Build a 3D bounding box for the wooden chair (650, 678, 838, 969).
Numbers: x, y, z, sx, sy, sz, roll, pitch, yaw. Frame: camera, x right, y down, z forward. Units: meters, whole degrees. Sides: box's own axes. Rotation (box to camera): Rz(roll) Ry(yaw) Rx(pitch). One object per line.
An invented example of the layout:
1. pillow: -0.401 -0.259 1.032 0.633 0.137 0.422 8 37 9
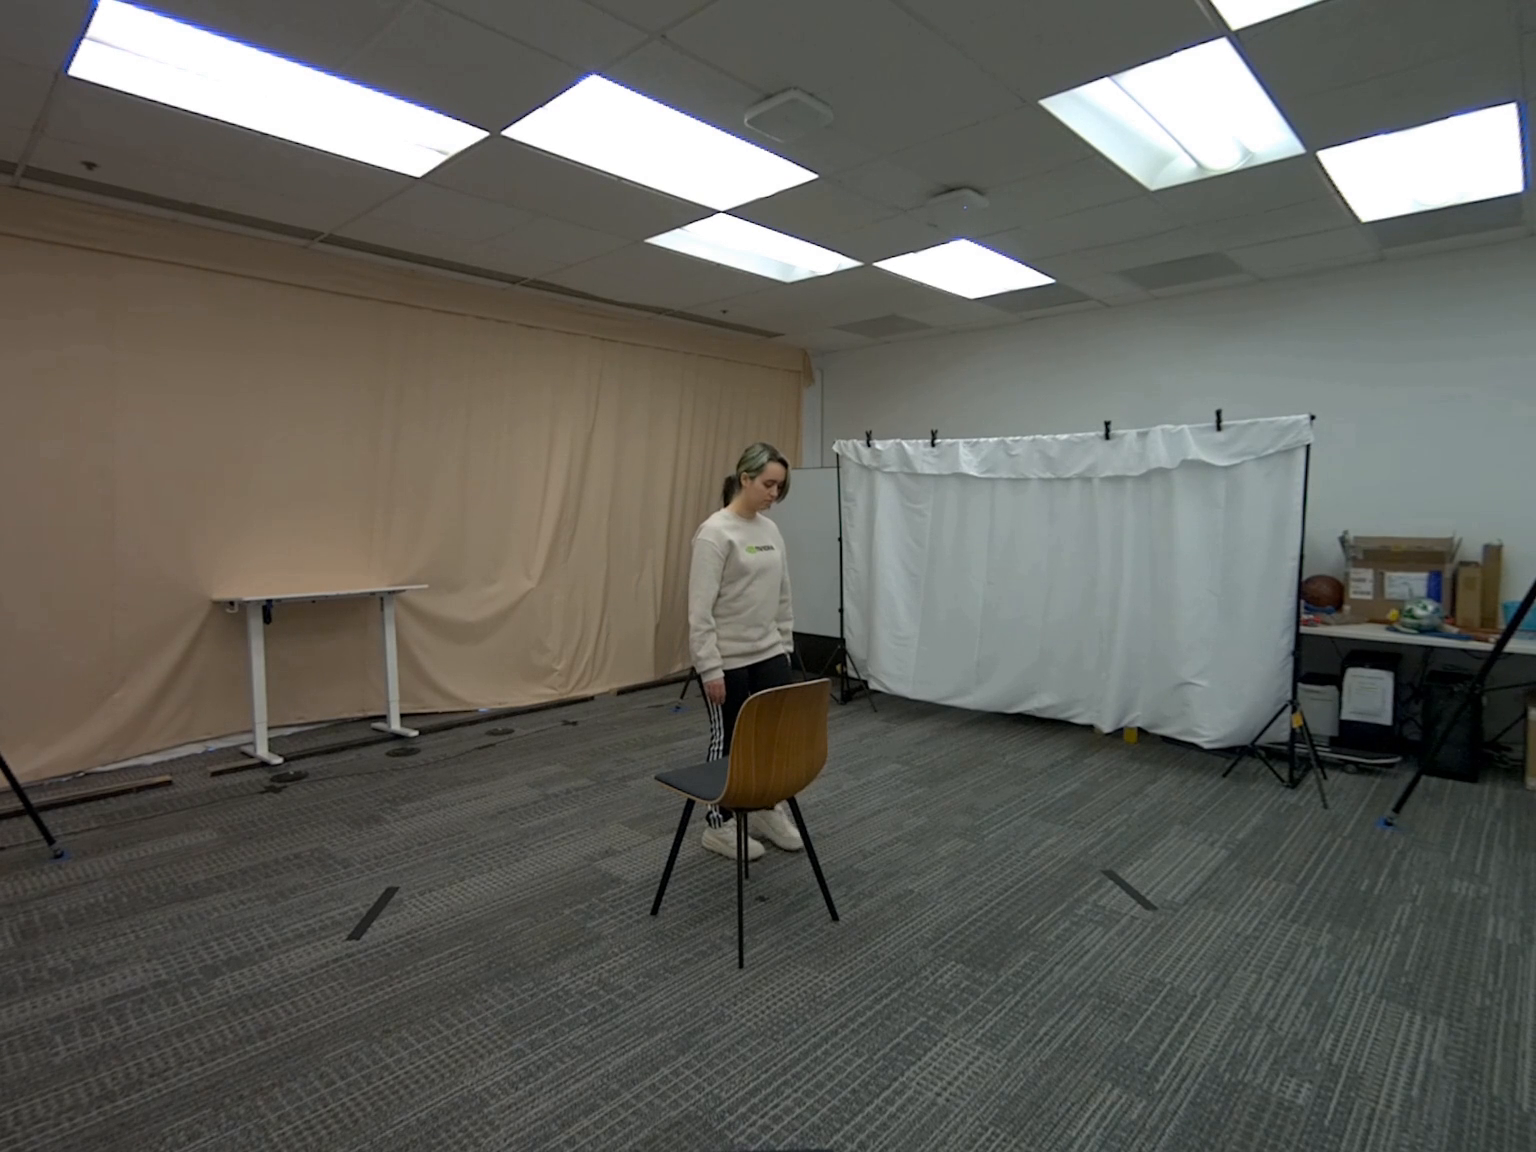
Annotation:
1. wooden chair: -0.088 0.724 2.825 0.463 0.874 0.541 -4 9 -43
